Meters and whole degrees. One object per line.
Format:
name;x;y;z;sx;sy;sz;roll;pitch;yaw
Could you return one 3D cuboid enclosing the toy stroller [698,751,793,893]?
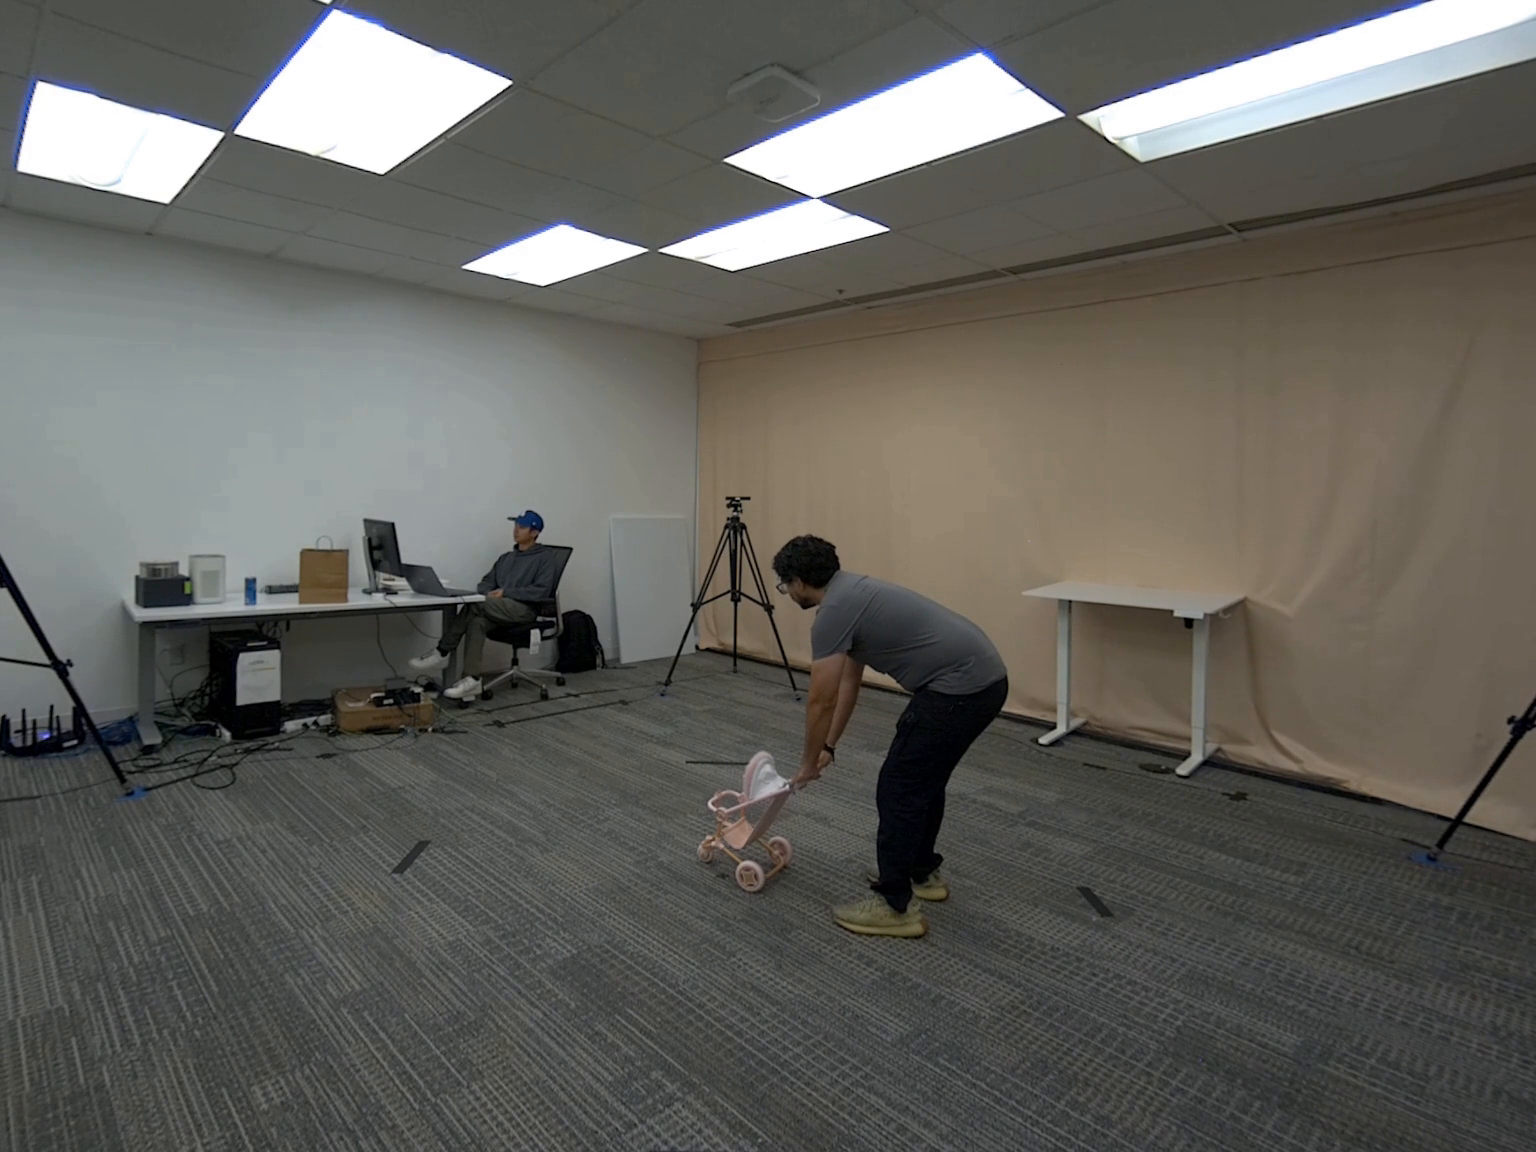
toy stroller;-0.065;0.887;3.117;0.350;0.532;0.276;23;14;29
